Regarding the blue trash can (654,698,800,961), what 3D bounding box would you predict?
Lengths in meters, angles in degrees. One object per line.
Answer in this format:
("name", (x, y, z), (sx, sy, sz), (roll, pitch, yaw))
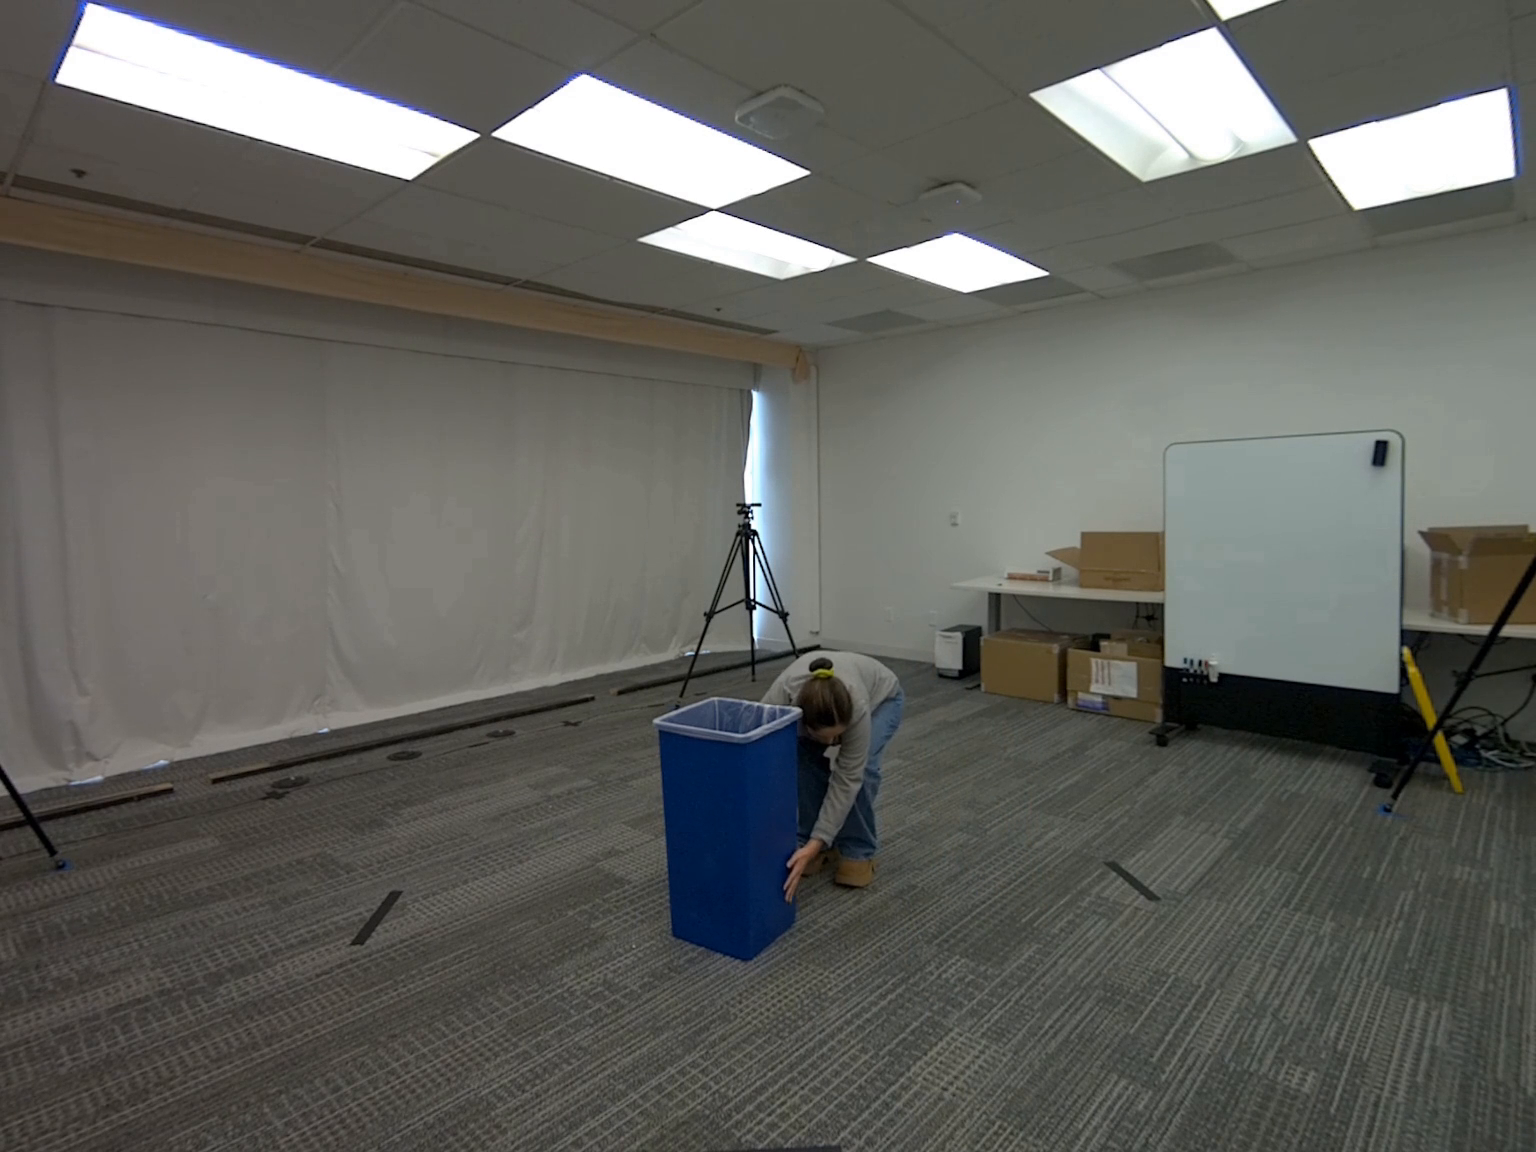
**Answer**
("blue trash can", (-0.116, 0.802, 2.730), (0.389, 0.712, 0.363), (1, 3, 33))
